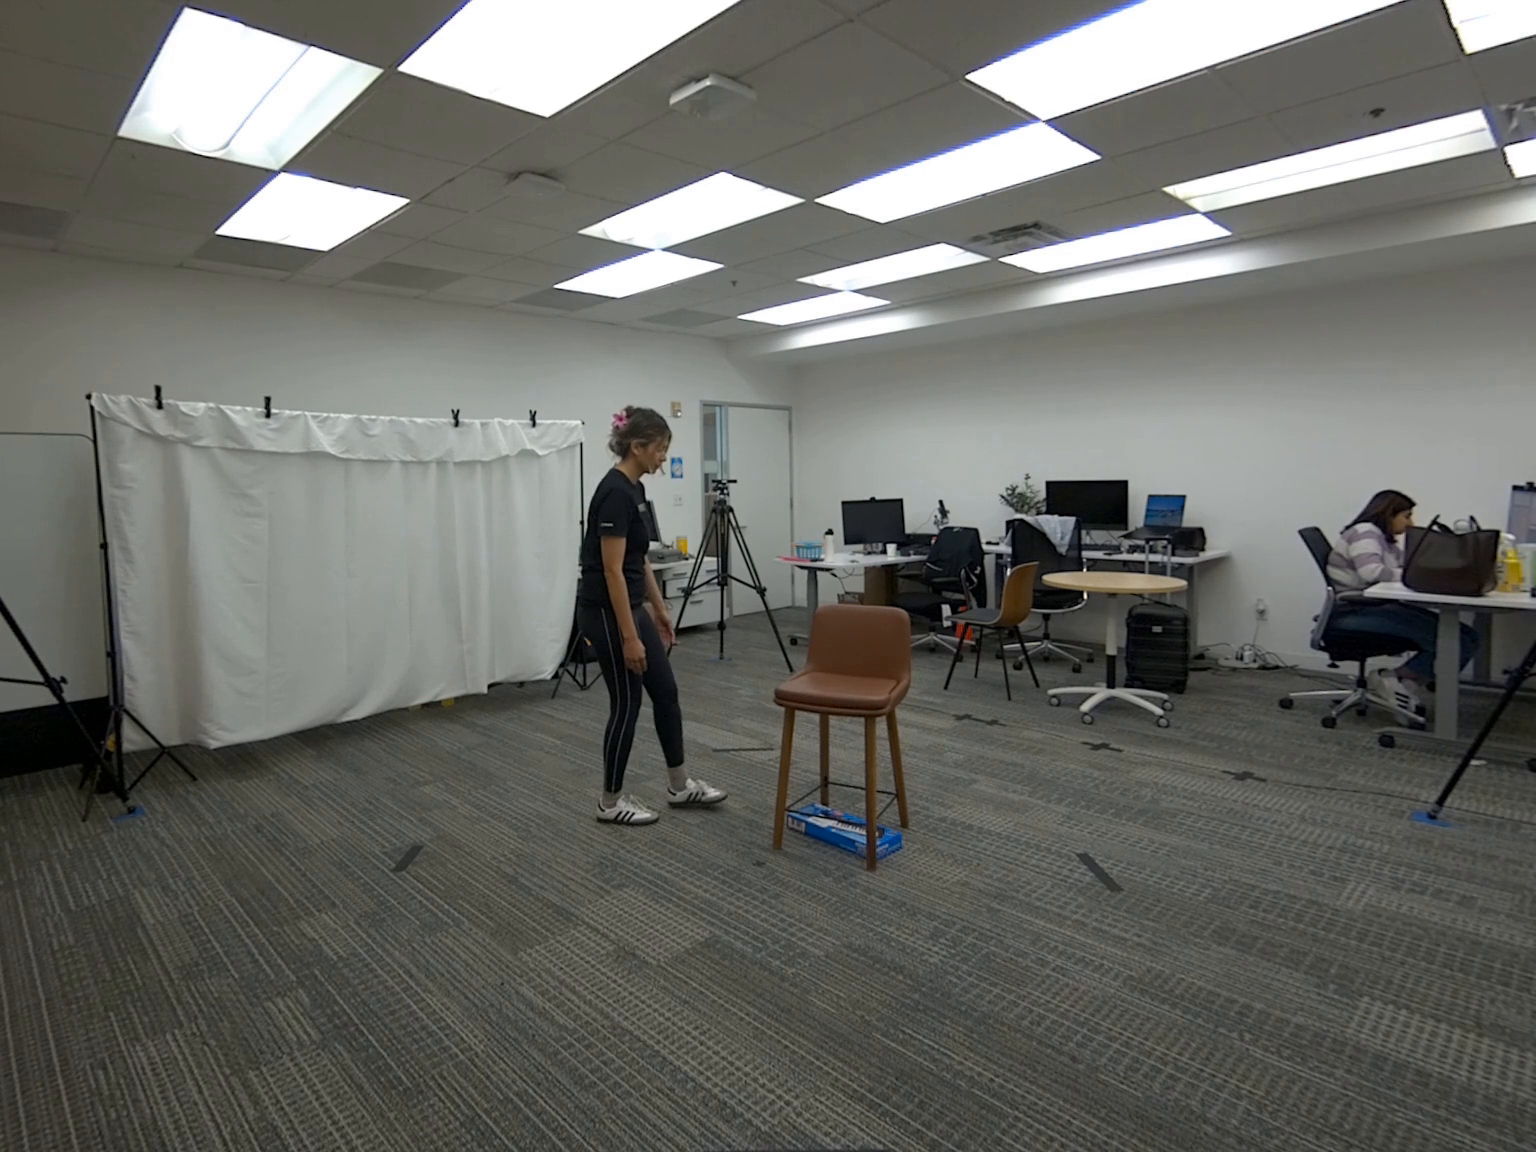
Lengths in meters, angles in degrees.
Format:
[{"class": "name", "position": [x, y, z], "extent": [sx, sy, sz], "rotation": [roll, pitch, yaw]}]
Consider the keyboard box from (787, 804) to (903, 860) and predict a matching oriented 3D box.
[{"class": "keyboard box", "position": [0.295, 0.994, 3.321], "extent": [0.171, 0.059, 0.450], "rotation": [-6, 8, -43]}]
